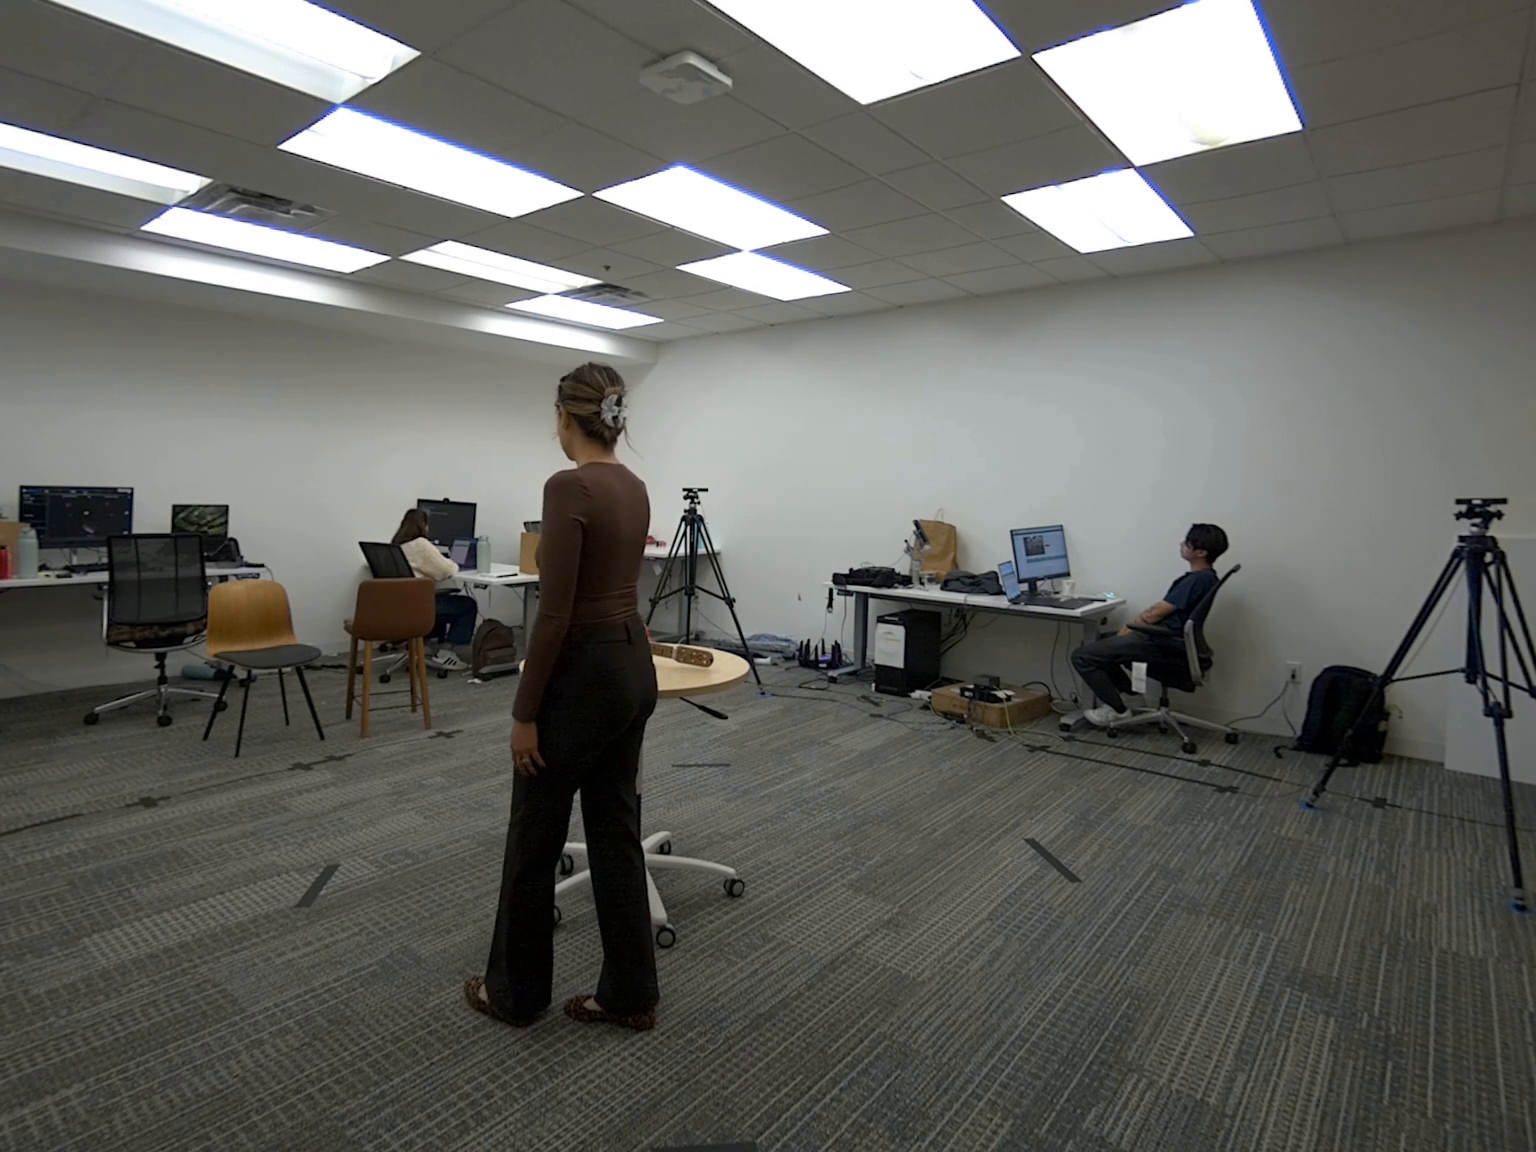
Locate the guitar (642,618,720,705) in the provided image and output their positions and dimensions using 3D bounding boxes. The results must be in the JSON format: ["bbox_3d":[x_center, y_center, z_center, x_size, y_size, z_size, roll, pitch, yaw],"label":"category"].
[{"bbox_3d":[-0.434,0.250,2.841,0.503,0.192,0.070,18,7,7],"label":"guitar"}]
